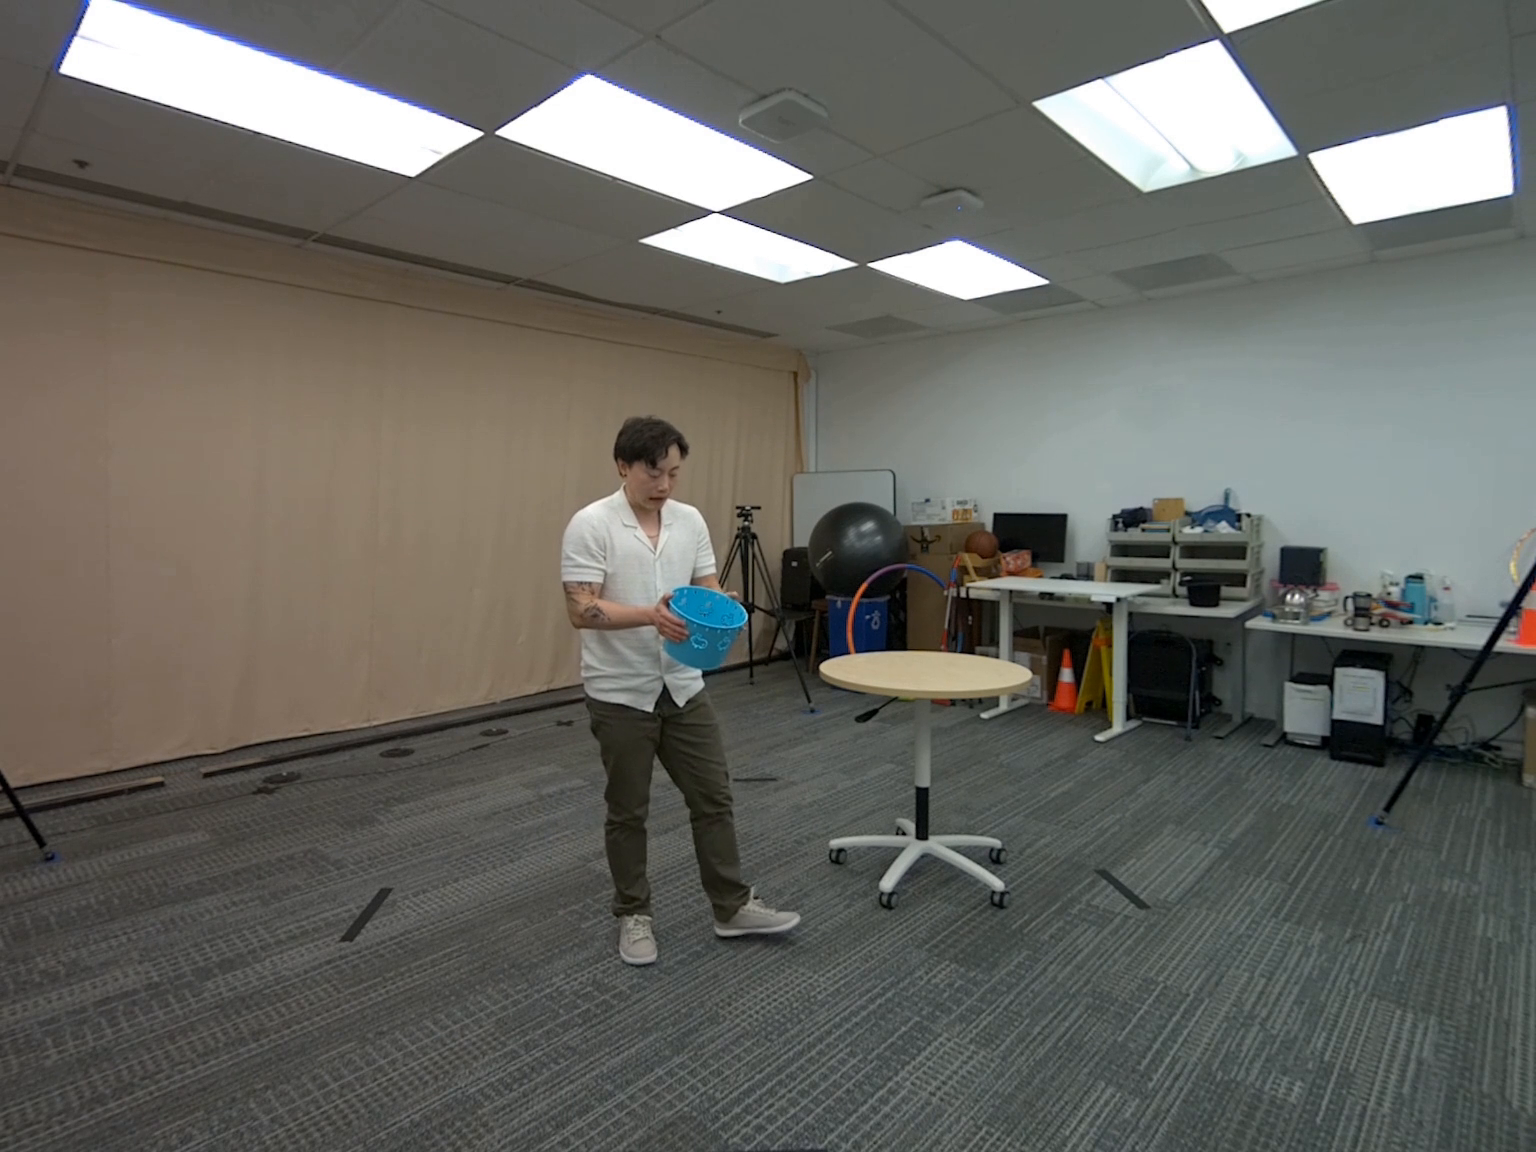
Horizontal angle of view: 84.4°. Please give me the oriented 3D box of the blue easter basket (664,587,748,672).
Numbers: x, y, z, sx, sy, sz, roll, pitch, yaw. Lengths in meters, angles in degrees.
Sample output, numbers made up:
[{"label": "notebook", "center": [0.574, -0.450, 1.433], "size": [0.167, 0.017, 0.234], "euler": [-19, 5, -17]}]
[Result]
[{"label": "blue easter basket", "center": [-0.185, 0.156, 2.371], "size": [0.242, 0.155, 0.247], "euler": [13, 21, -7]}]
